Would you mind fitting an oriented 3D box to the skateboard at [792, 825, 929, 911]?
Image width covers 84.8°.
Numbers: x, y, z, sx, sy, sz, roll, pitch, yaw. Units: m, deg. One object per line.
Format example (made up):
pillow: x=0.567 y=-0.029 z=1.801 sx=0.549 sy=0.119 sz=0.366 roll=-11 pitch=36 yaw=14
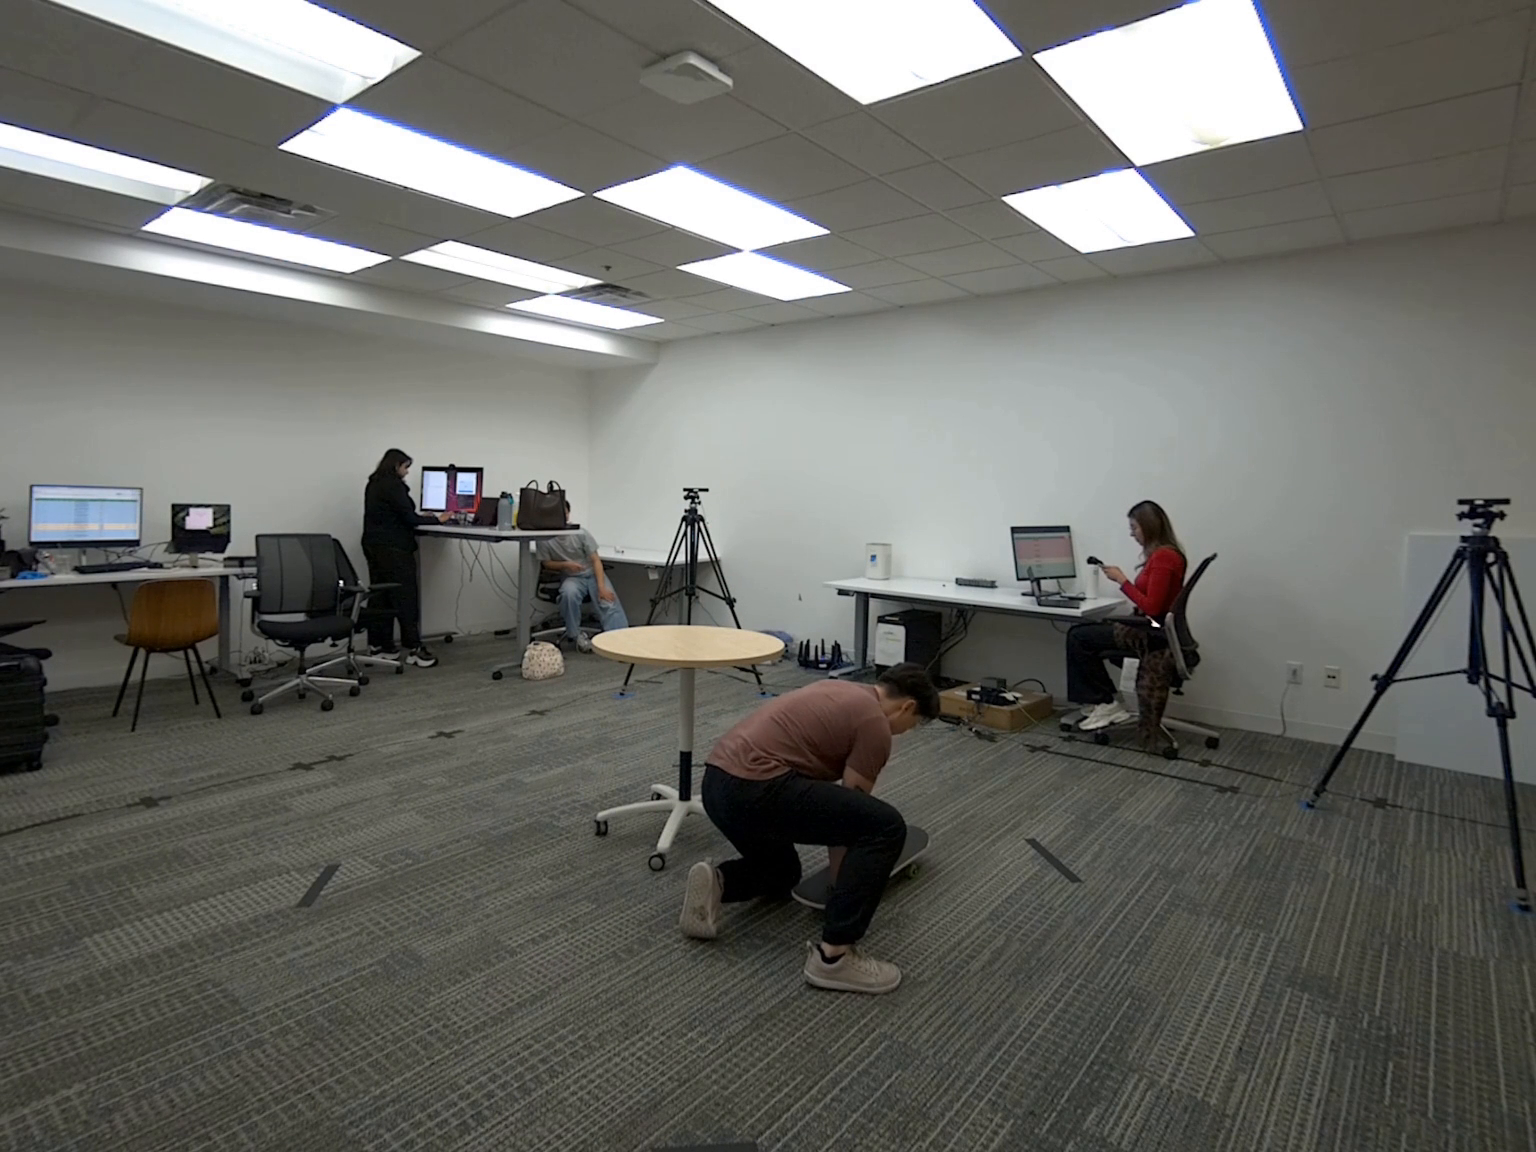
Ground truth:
skateboard: x=0.339 y=1.041 z=2.970 sx=0.200 sy=0.110 sz=0.764 roll=6 pitch=8 yaw=34
